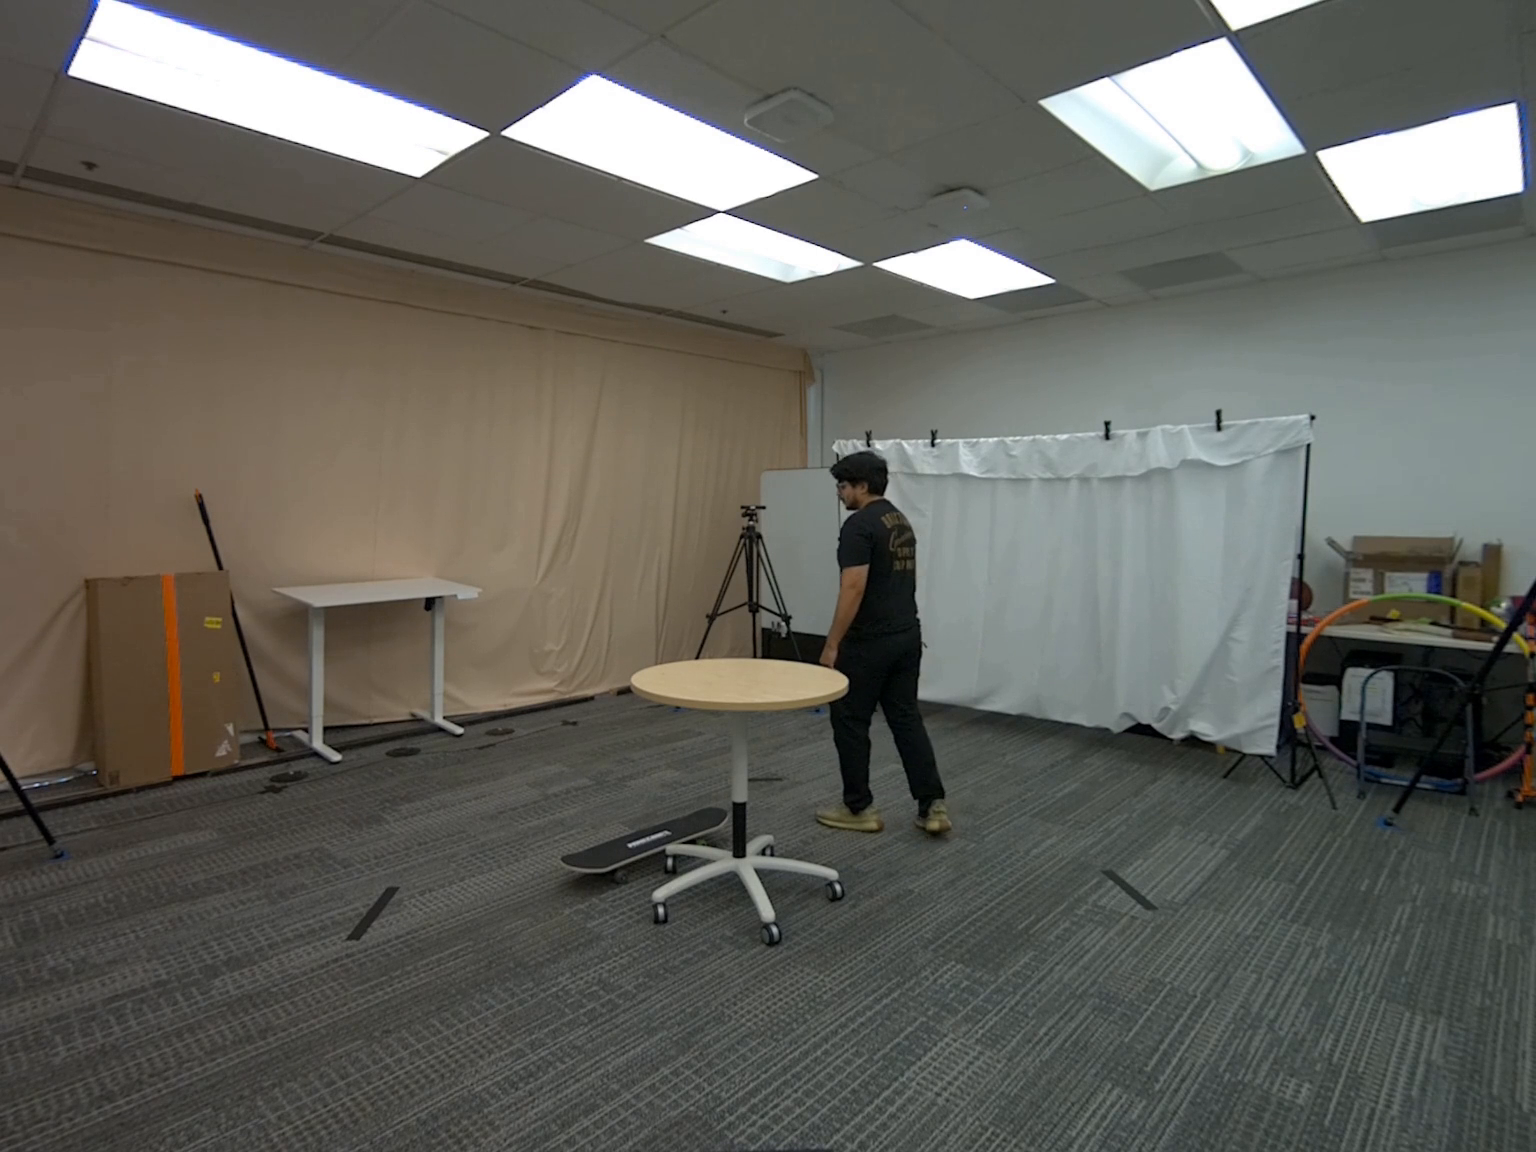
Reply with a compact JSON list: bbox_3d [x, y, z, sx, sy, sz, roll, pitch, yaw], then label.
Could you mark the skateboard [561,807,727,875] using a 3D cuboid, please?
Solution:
[{"bbox_3d":[-0.465,1.064,3.306,0.761,0.110,0.200,-5,6,-44],"label":"skateboard"}]
